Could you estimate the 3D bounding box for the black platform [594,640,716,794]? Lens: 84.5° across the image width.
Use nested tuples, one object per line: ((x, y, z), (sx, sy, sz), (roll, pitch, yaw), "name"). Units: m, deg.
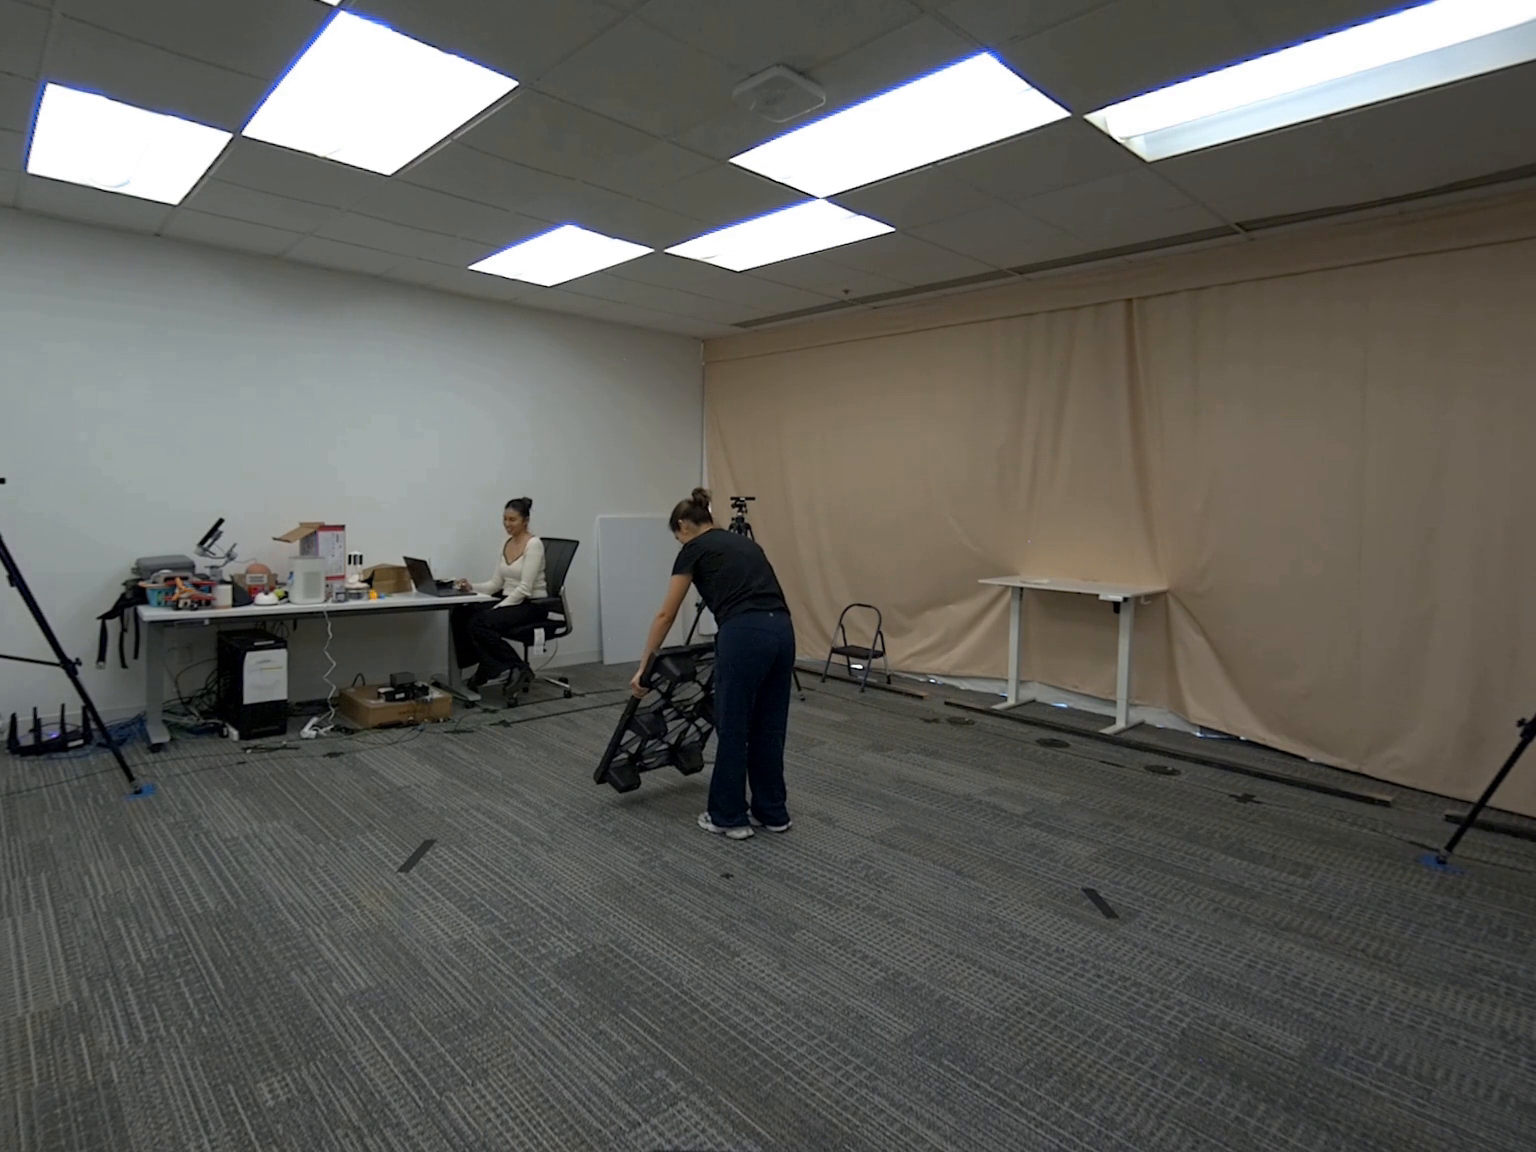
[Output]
((-0.386, 0.629, 3.733), (0.592, 0.799, 0.148), (-5, 41, -44), "black platform")
